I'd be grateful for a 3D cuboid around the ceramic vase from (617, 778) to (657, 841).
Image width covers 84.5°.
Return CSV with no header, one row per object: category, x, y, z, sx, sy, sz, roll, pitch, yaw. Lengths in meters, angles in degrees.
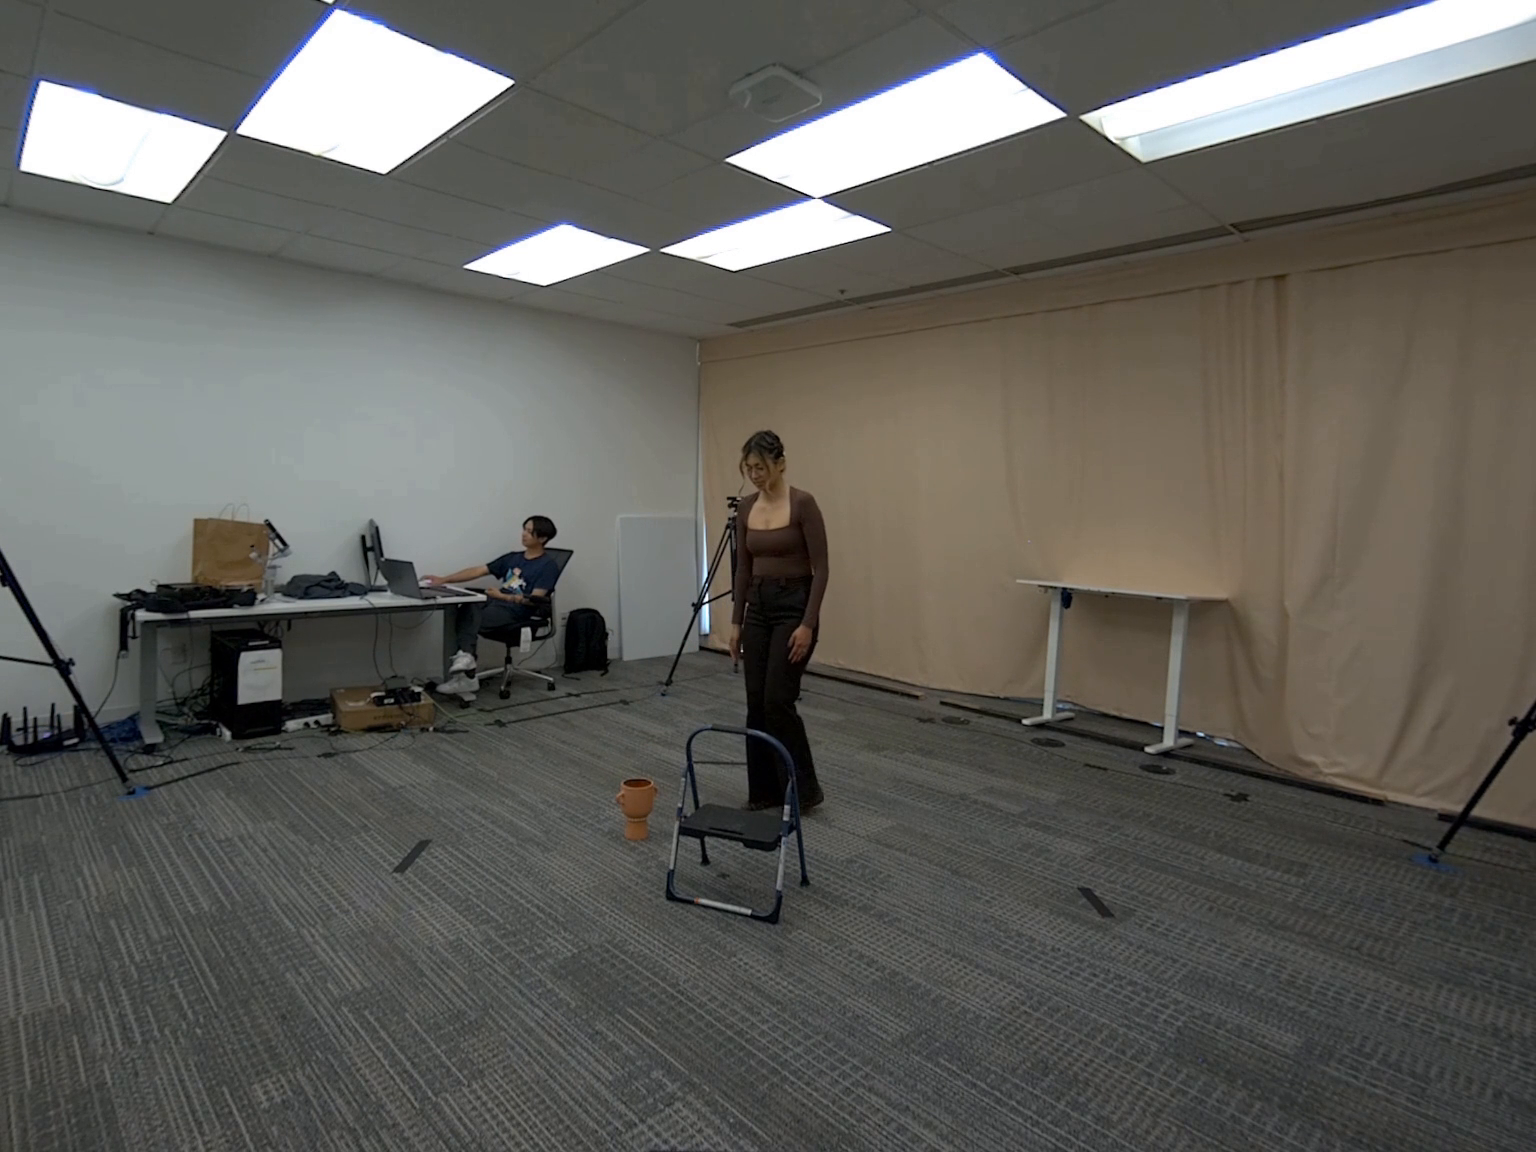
ceramic vase,-0.547,0.954,3.448,0.159,0.219,0.135,2,3,0
